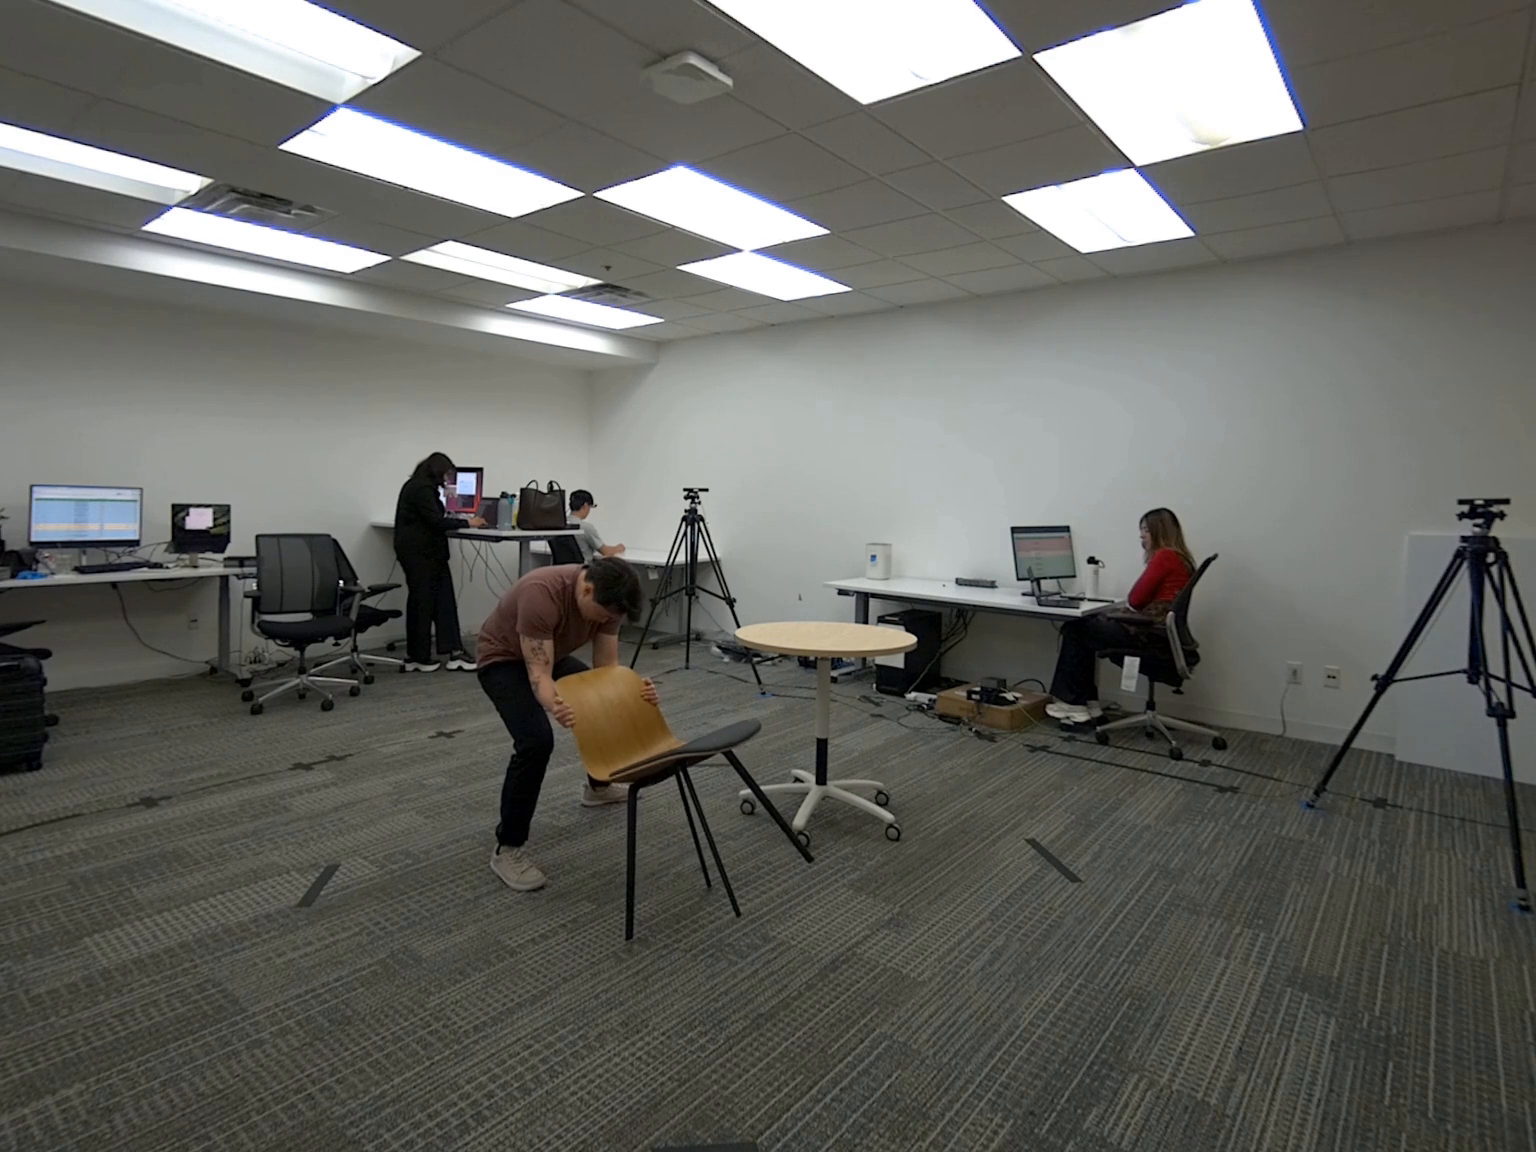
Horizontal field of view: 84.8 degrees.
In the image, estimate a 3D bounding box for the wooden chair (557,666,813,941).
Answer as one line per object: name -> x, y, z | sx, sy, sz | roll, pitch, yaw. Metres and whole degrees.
wooden chair -> -0.290, 0.613, 2.743 | 0.528, 0.893, 0.465 | -32, -15, 30
